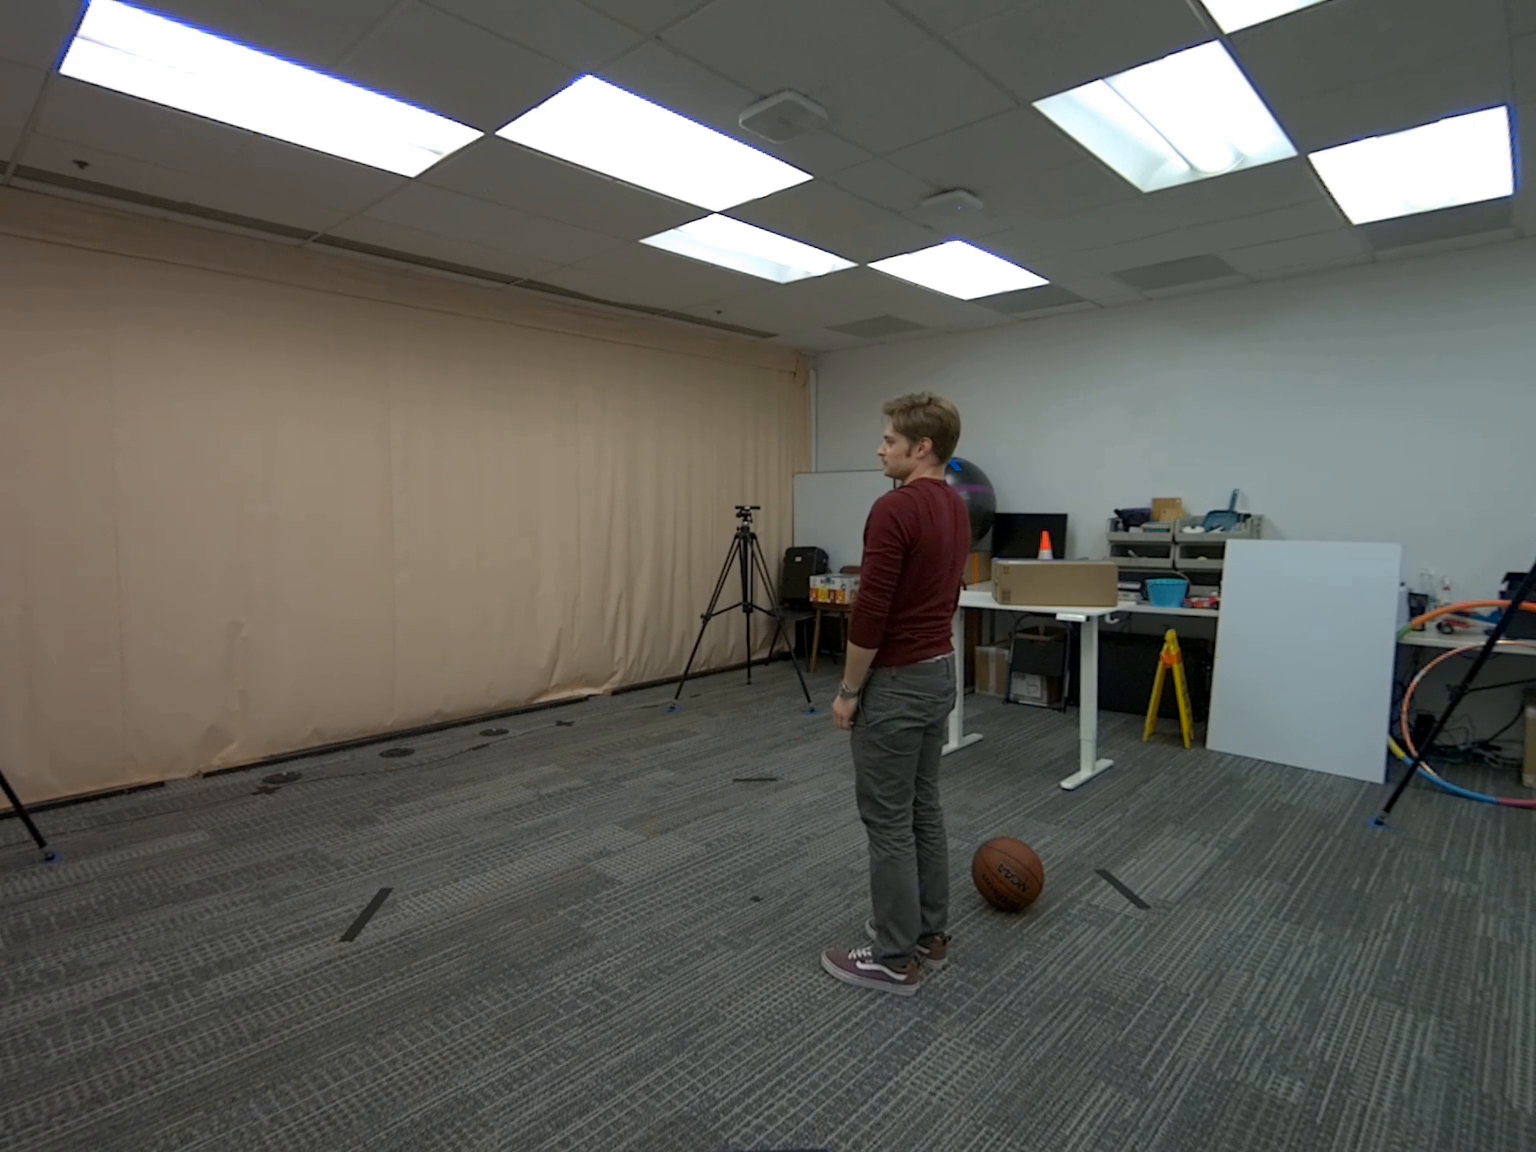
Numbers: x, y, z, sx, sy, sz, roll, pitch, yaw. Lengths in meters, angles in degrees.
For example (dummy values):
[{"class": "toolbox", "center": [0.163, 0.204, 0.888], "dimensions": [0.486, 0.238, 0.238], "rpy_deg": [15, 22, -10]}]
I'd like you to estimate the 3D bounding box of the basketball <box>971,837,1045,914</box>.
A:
[{"class": "basketball", "center": [0.840, 1.029, 2.920], "dimensions": [0.236, 0.235, 0.237], "rpy_deg": [0, 4, -2]}]
